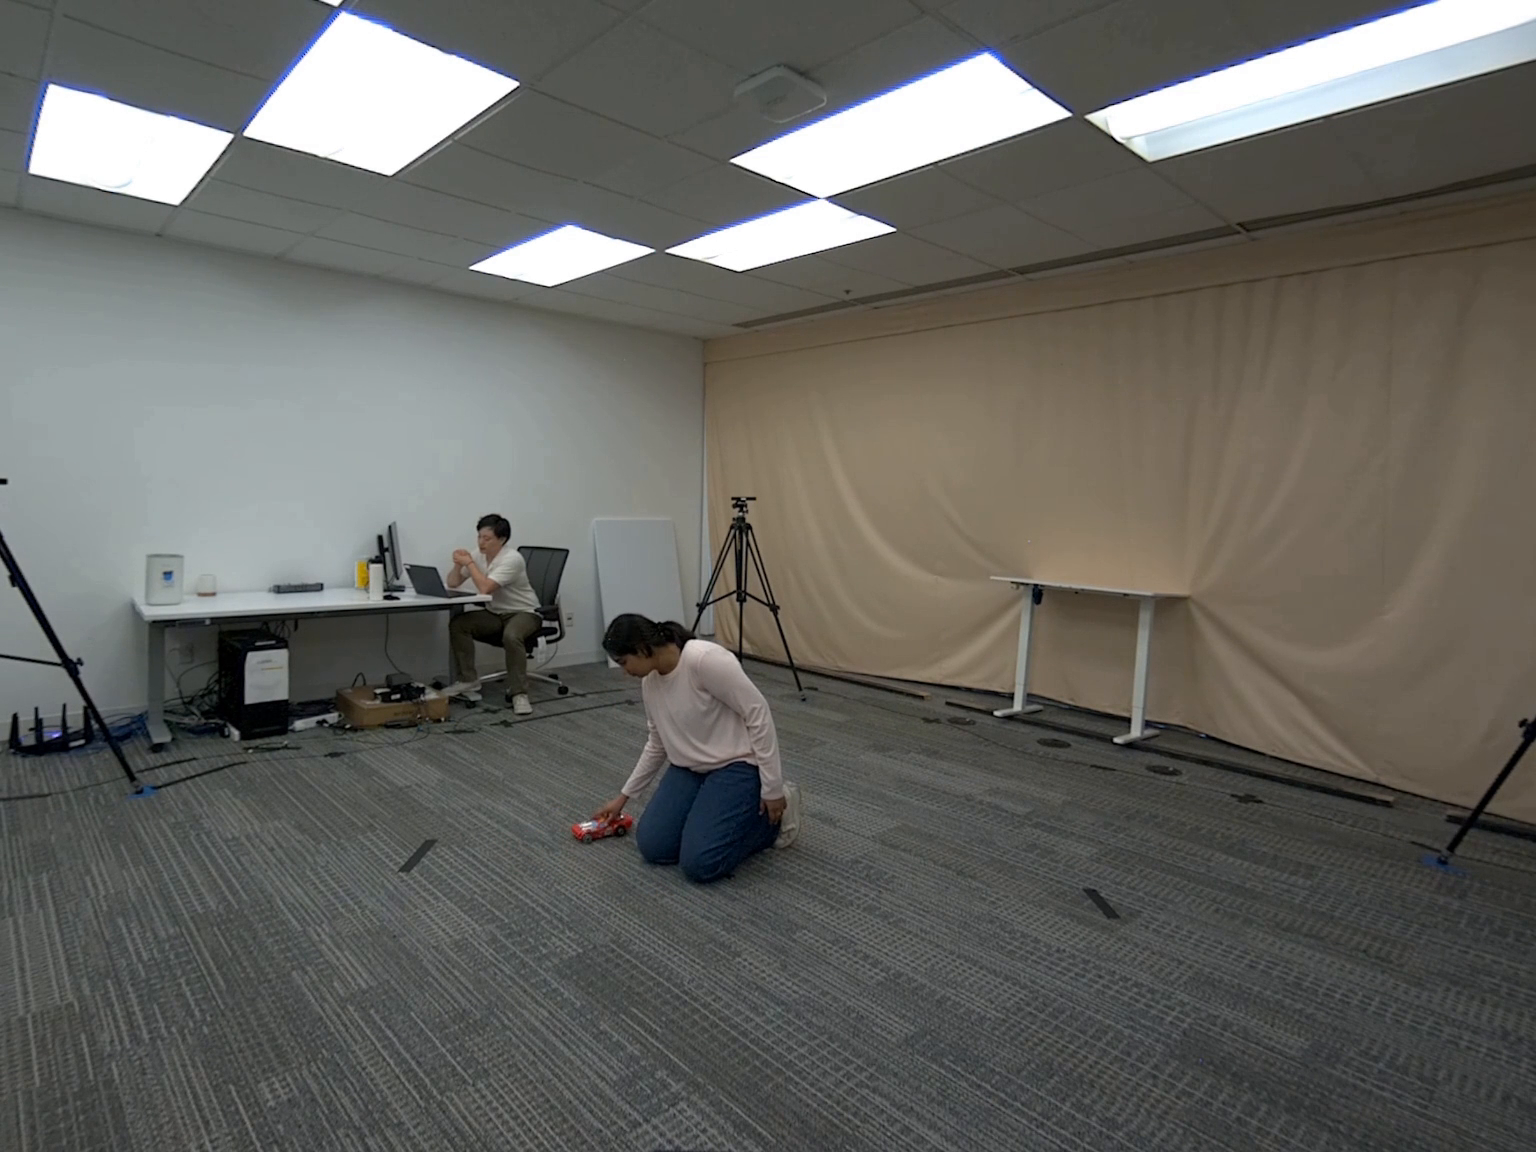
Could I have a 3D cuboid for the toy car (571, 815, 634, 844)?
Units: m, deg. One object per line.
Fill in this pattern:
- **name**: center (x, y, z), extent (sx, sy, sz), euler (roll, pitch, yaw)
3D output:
- **toy car**: center (-0.681, 1.025, 3.458), extent (0.250, 0.082, 0.133), euler (-14, 11, -32)
